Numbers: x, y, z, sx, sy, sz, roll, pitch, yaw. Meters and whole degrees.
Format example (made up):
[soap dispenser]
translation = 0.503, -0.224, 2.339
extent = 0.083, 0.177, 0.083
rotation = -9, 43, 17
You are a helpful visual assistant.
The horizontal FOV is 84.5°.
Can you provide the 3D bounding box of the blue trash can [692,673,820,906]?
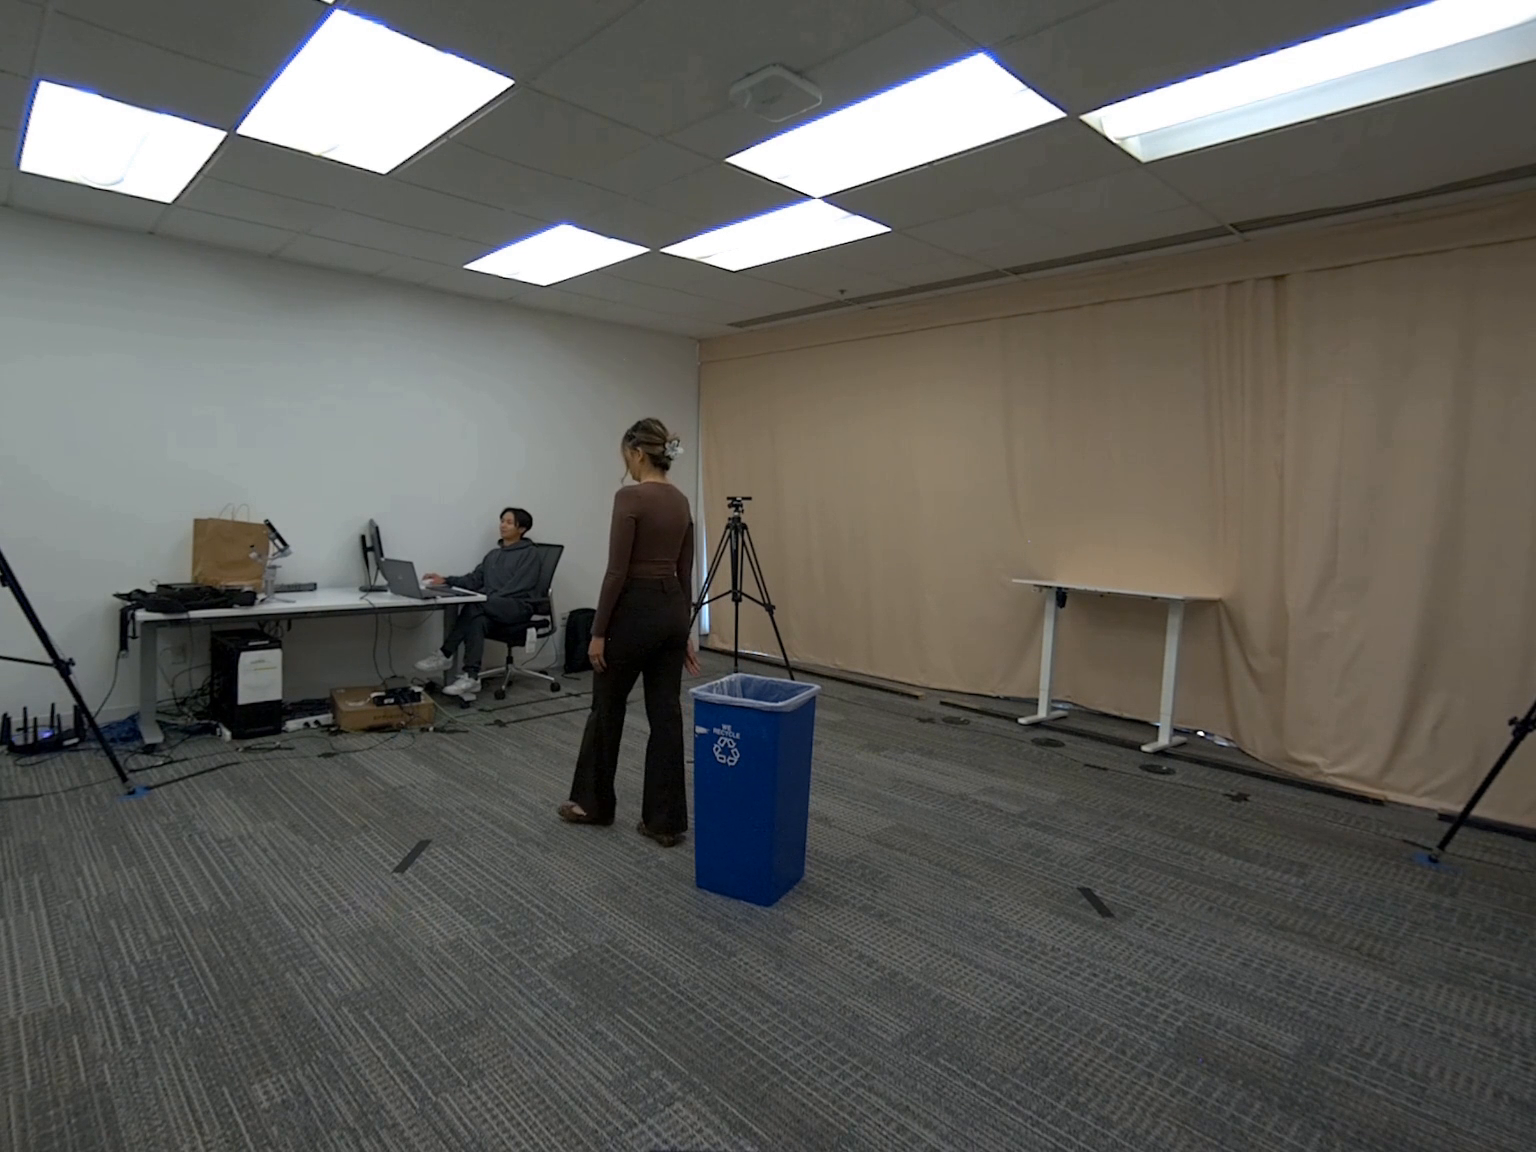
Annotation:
[blue trash can]
translation = -0.061, 0.754, 3.048
extent = 0.386, 0.711, 0.367
rotation = 3, 5, 27
